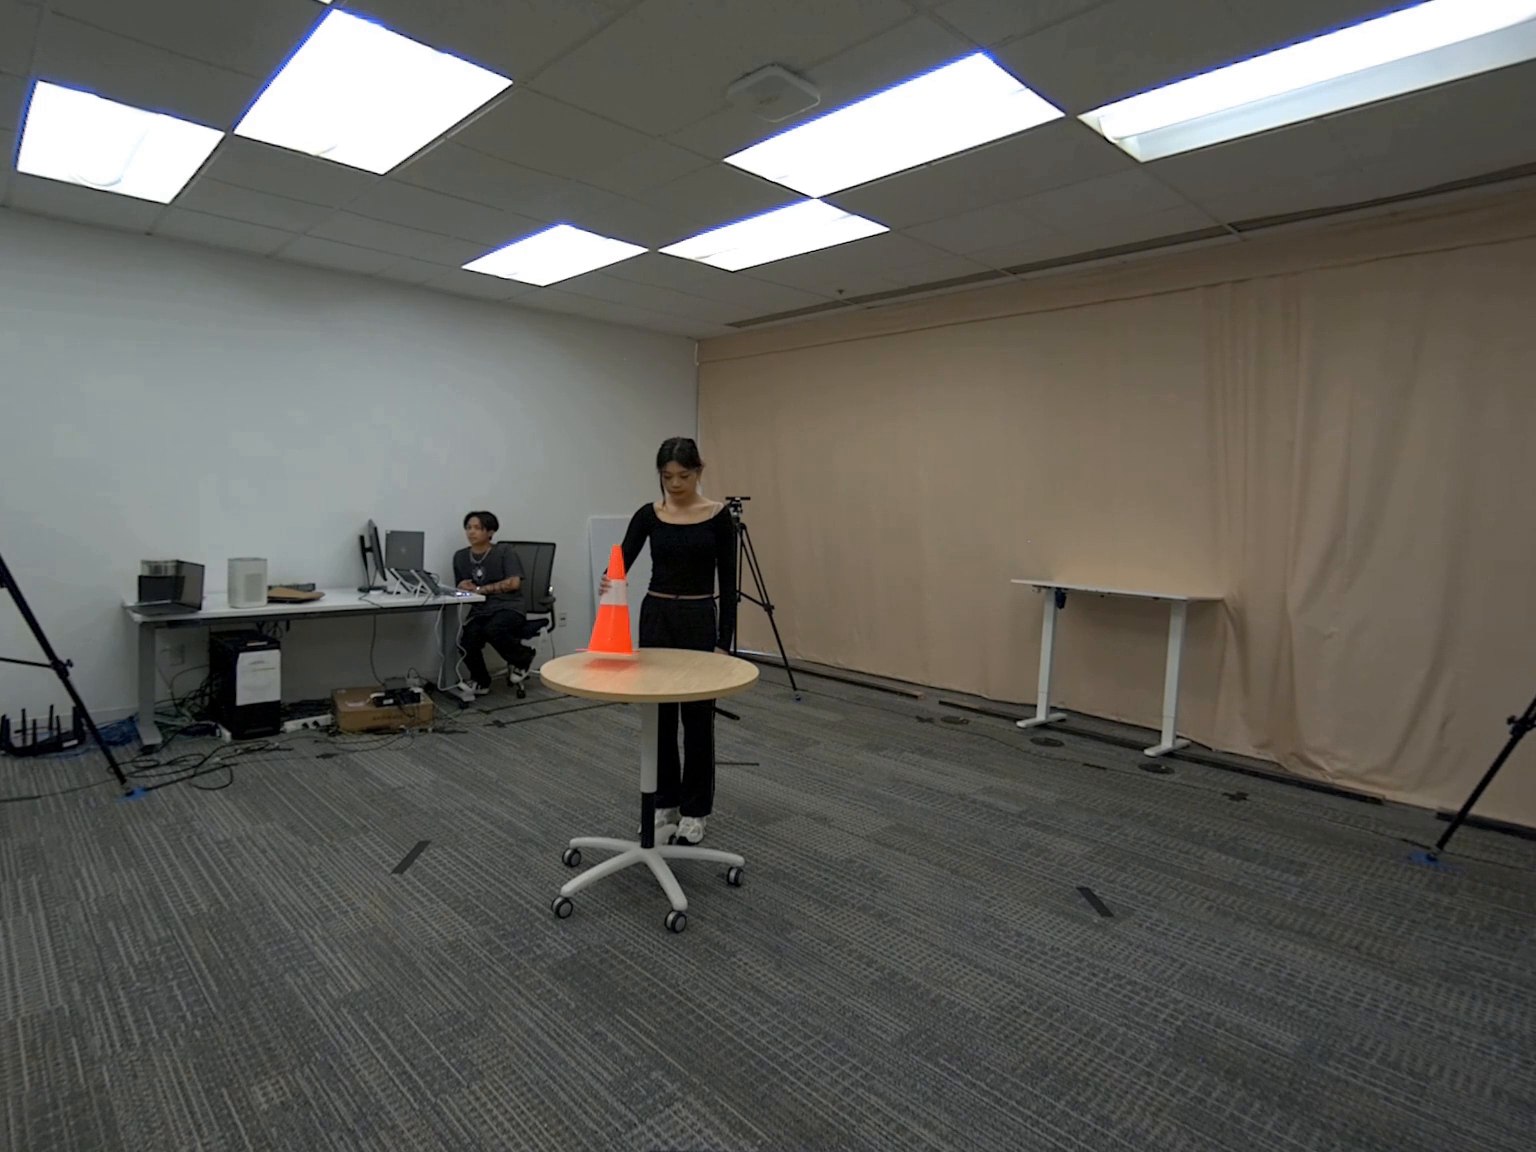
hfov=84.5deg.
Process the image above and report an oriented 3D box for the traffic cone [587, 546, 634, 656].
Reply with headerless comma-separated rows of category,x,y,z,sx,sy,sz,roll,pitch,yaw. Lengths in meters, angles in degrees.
traffic cone,-0.563,0.079,3.042,0.207,0.385,0.201,3,-6,10
